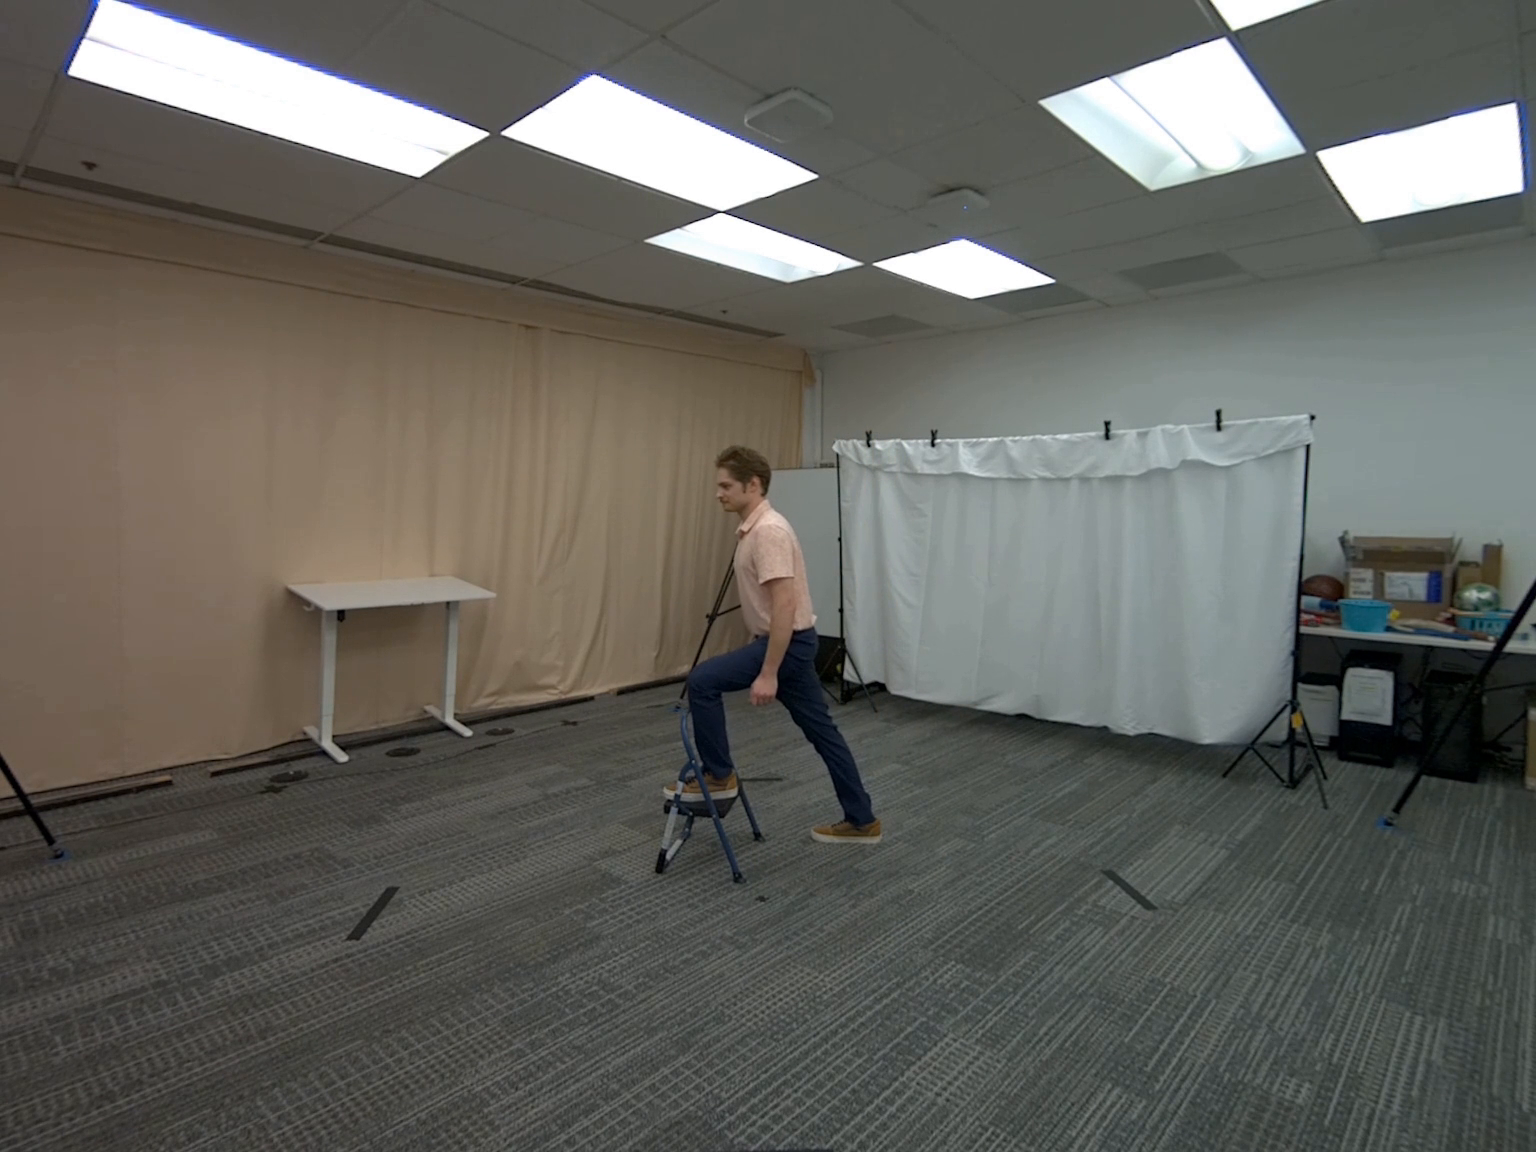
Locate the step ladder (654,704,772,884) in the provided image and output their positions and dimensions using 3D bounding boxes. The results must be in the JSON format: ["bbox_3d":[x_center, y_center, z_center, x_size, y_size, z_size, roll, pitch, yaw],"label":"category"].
[{"bbox_3d":[-0.226,0.814,3.335,0.354,0.605,0.426,0,3,11],"label":"step ladder"}]
